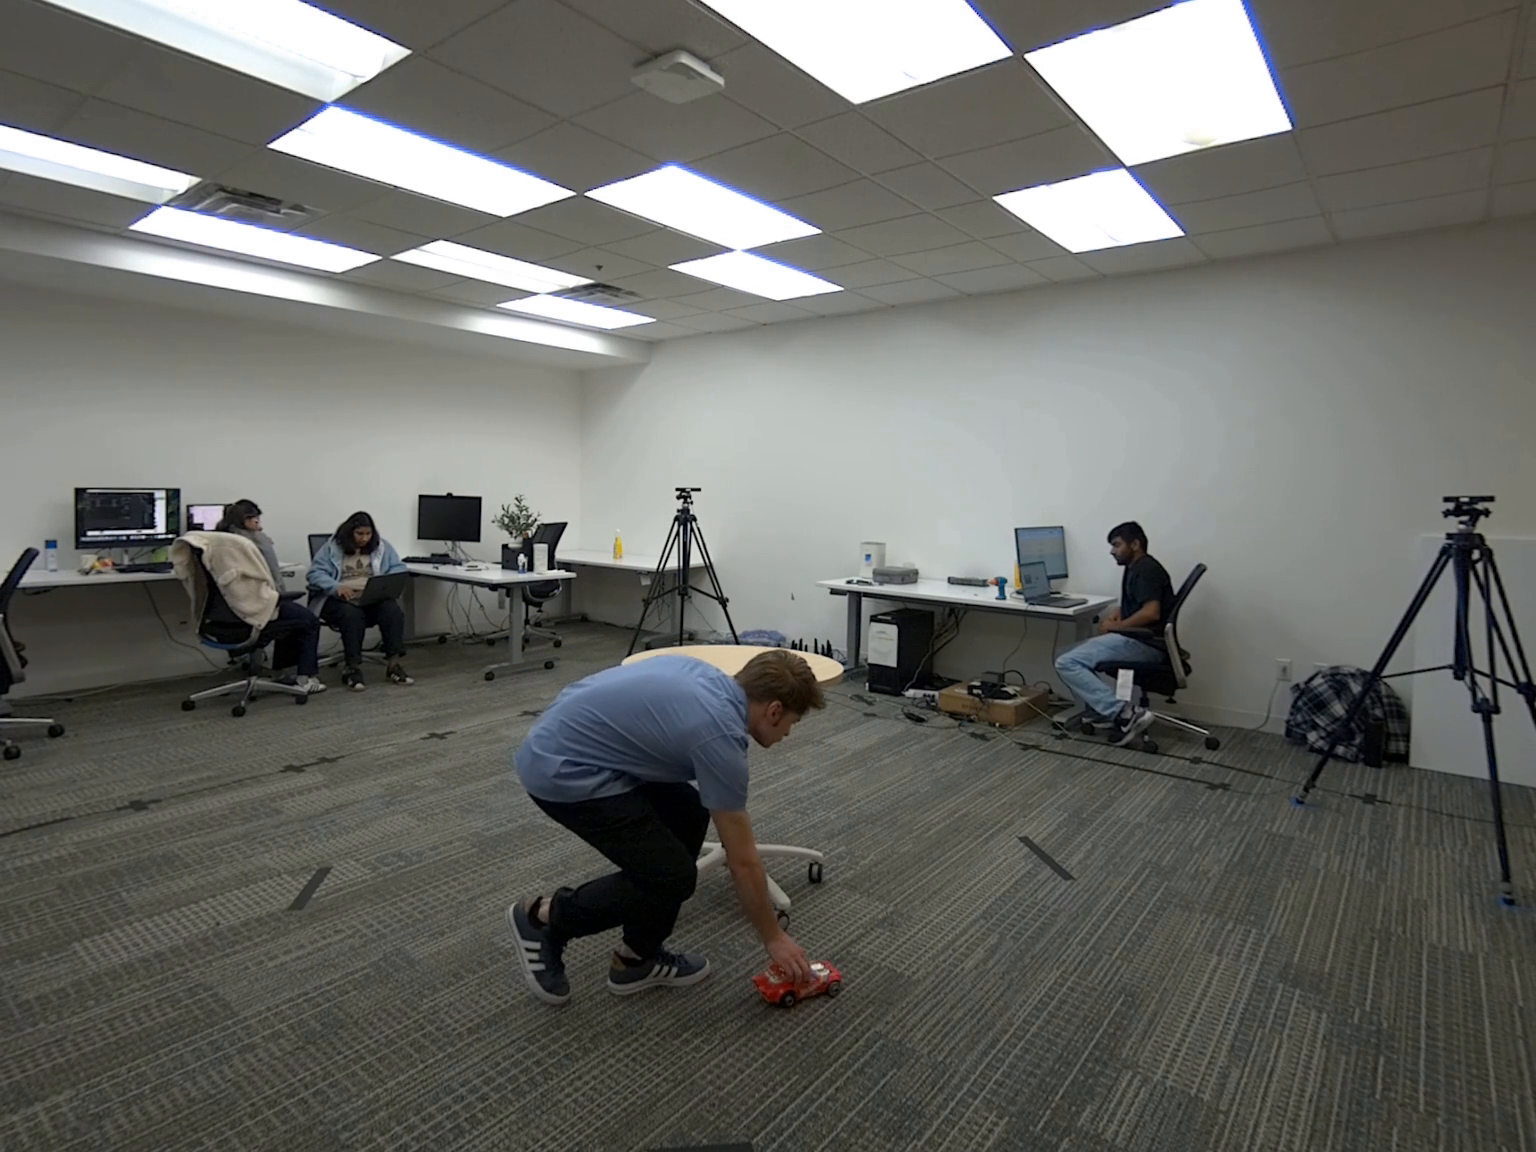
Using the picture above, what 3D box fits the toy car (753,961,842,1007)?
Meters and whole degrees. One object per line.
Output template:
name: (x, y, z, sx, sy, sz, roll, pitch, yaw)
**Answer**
toy car: (0.067, 1.122, 2.341, 0.248, 0.083, 0.134, 11, 0, -23)
